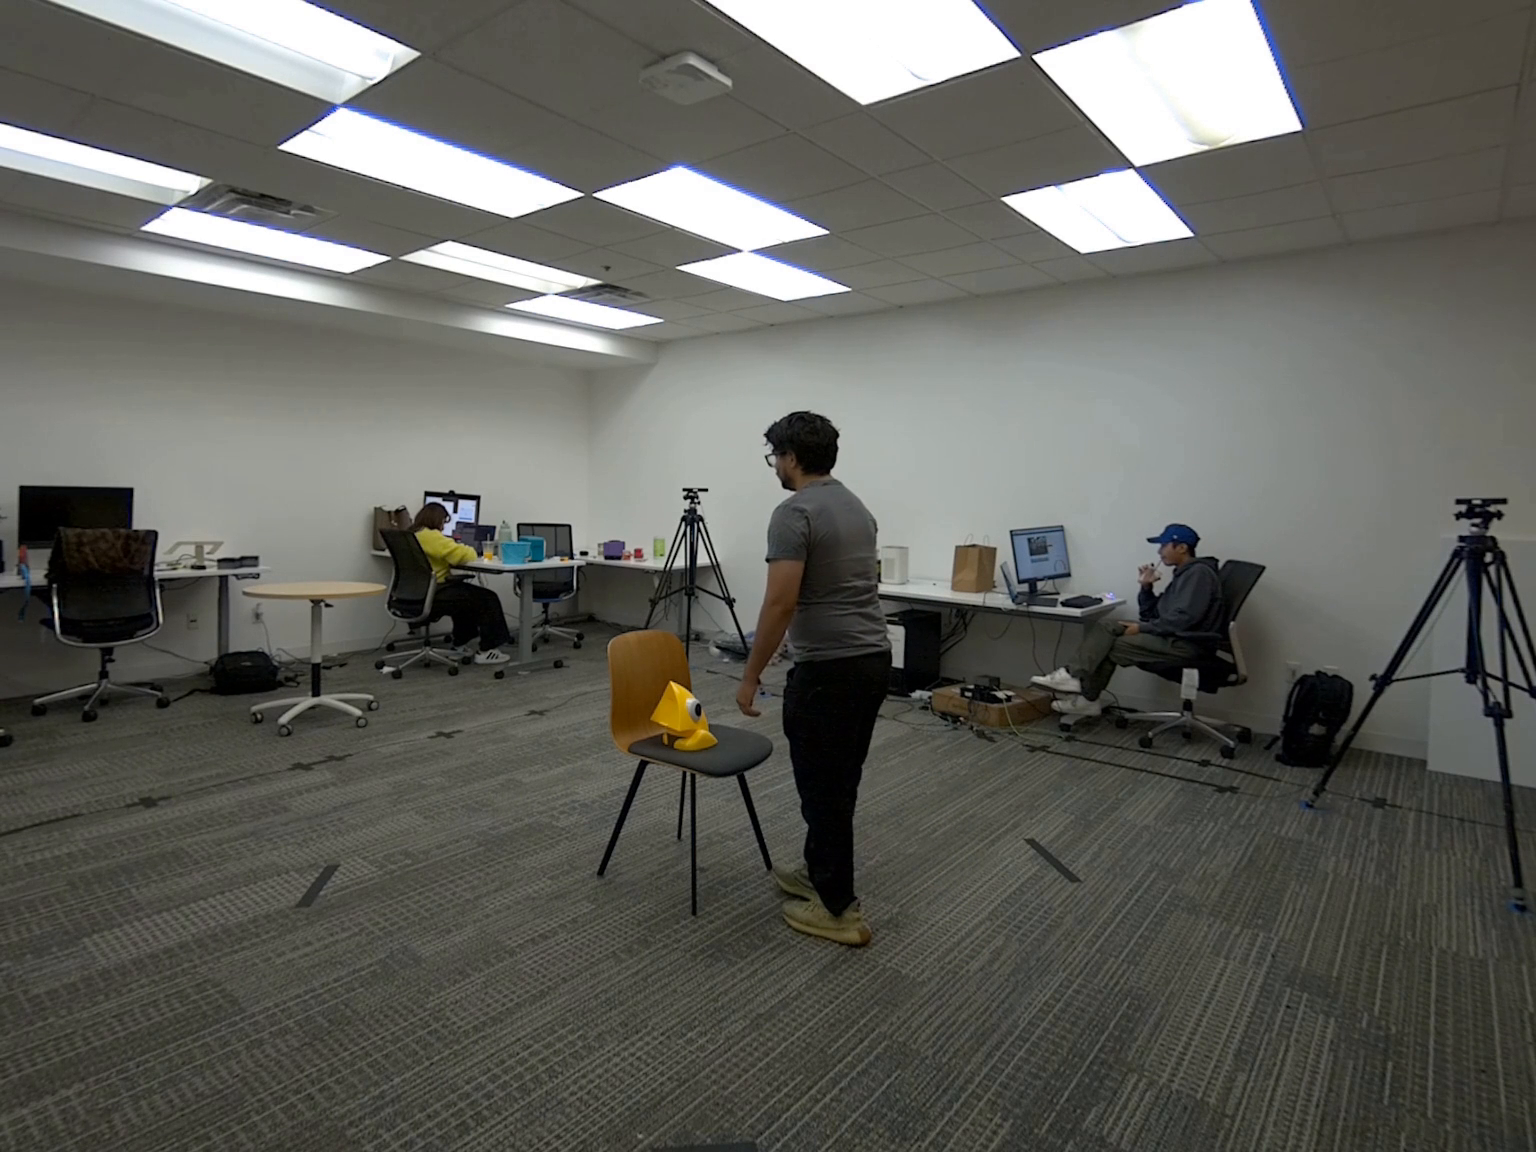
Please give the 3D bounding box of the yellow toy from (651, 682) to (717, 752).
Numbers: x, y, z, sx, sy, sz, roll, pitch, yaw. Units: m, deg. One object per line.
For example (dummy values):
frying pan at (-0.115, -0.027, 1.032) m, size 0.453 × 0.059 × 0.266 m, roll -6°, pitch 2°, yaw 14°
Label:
yellow toy at (-0.308, 0.484, 3.069) m, size 0.187 × 0.230 × 0.211 m, roll -2°, pitch 2°, yaw -36°
